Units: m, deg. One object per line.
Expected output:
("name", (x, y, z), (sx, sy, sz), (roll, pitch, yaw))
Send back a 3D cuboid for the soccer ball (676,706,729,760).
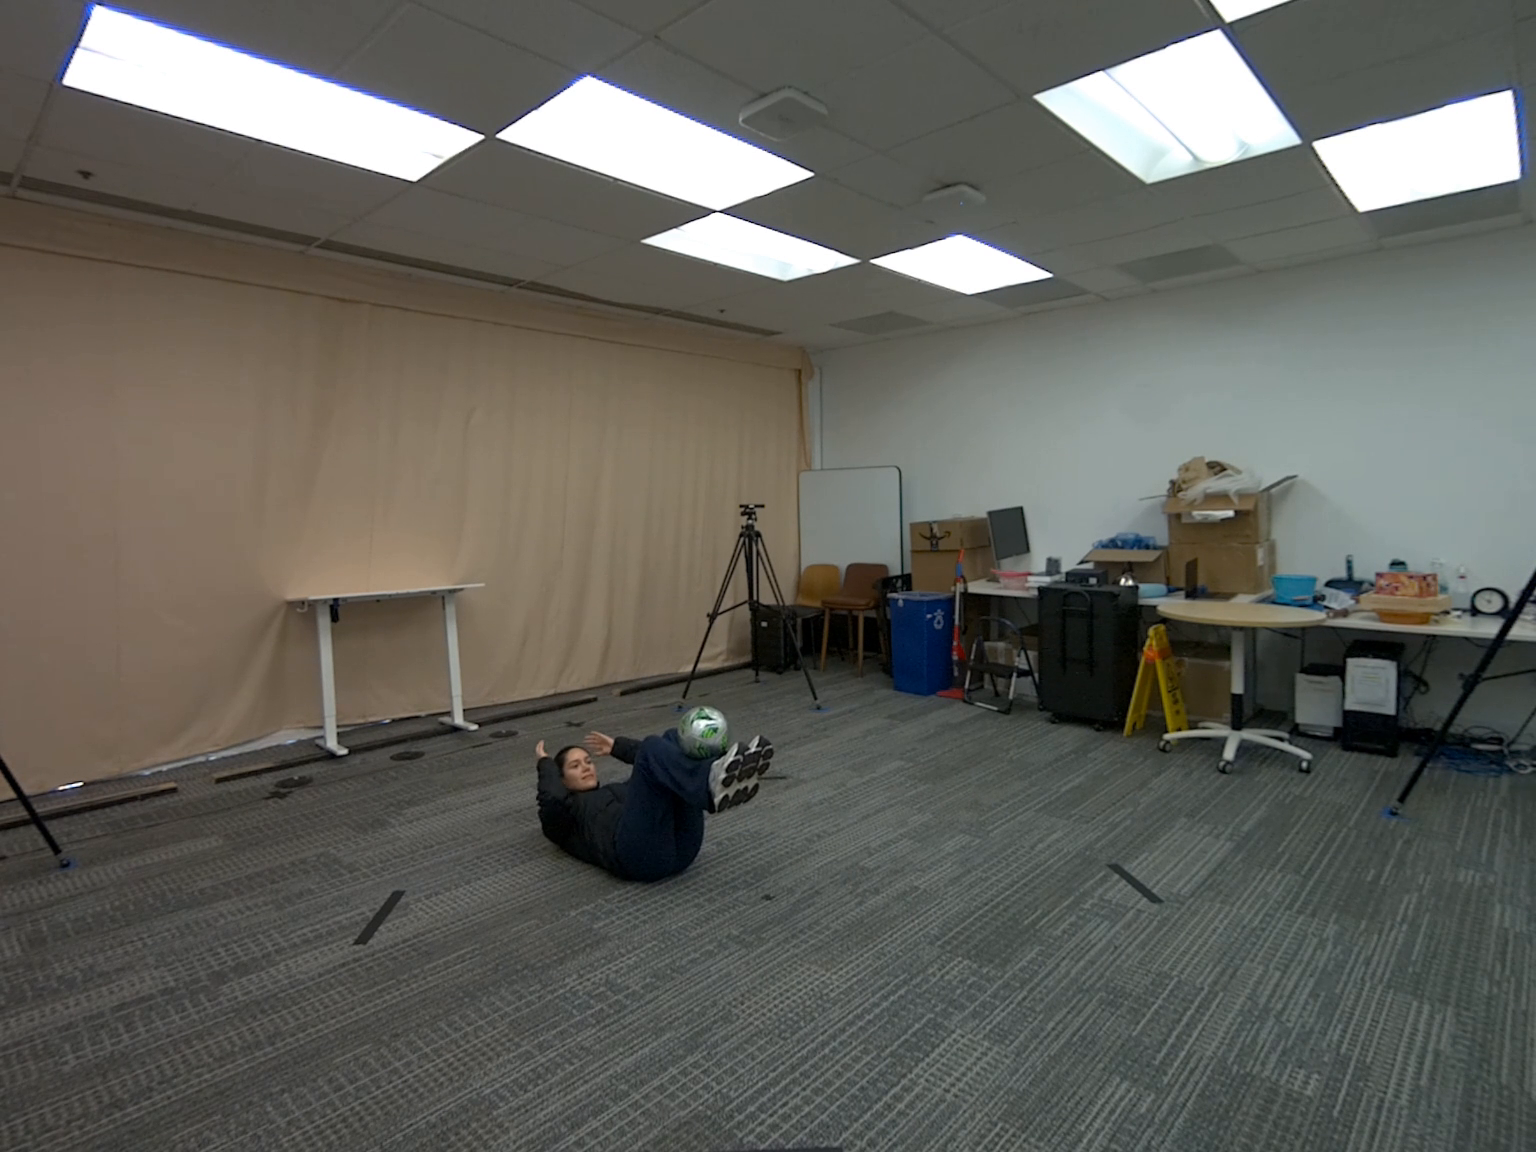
("soccer ball", (-0.222, 0.555, 2.953), (0.187, 0.187, 0.188), (2, 5, -2))
